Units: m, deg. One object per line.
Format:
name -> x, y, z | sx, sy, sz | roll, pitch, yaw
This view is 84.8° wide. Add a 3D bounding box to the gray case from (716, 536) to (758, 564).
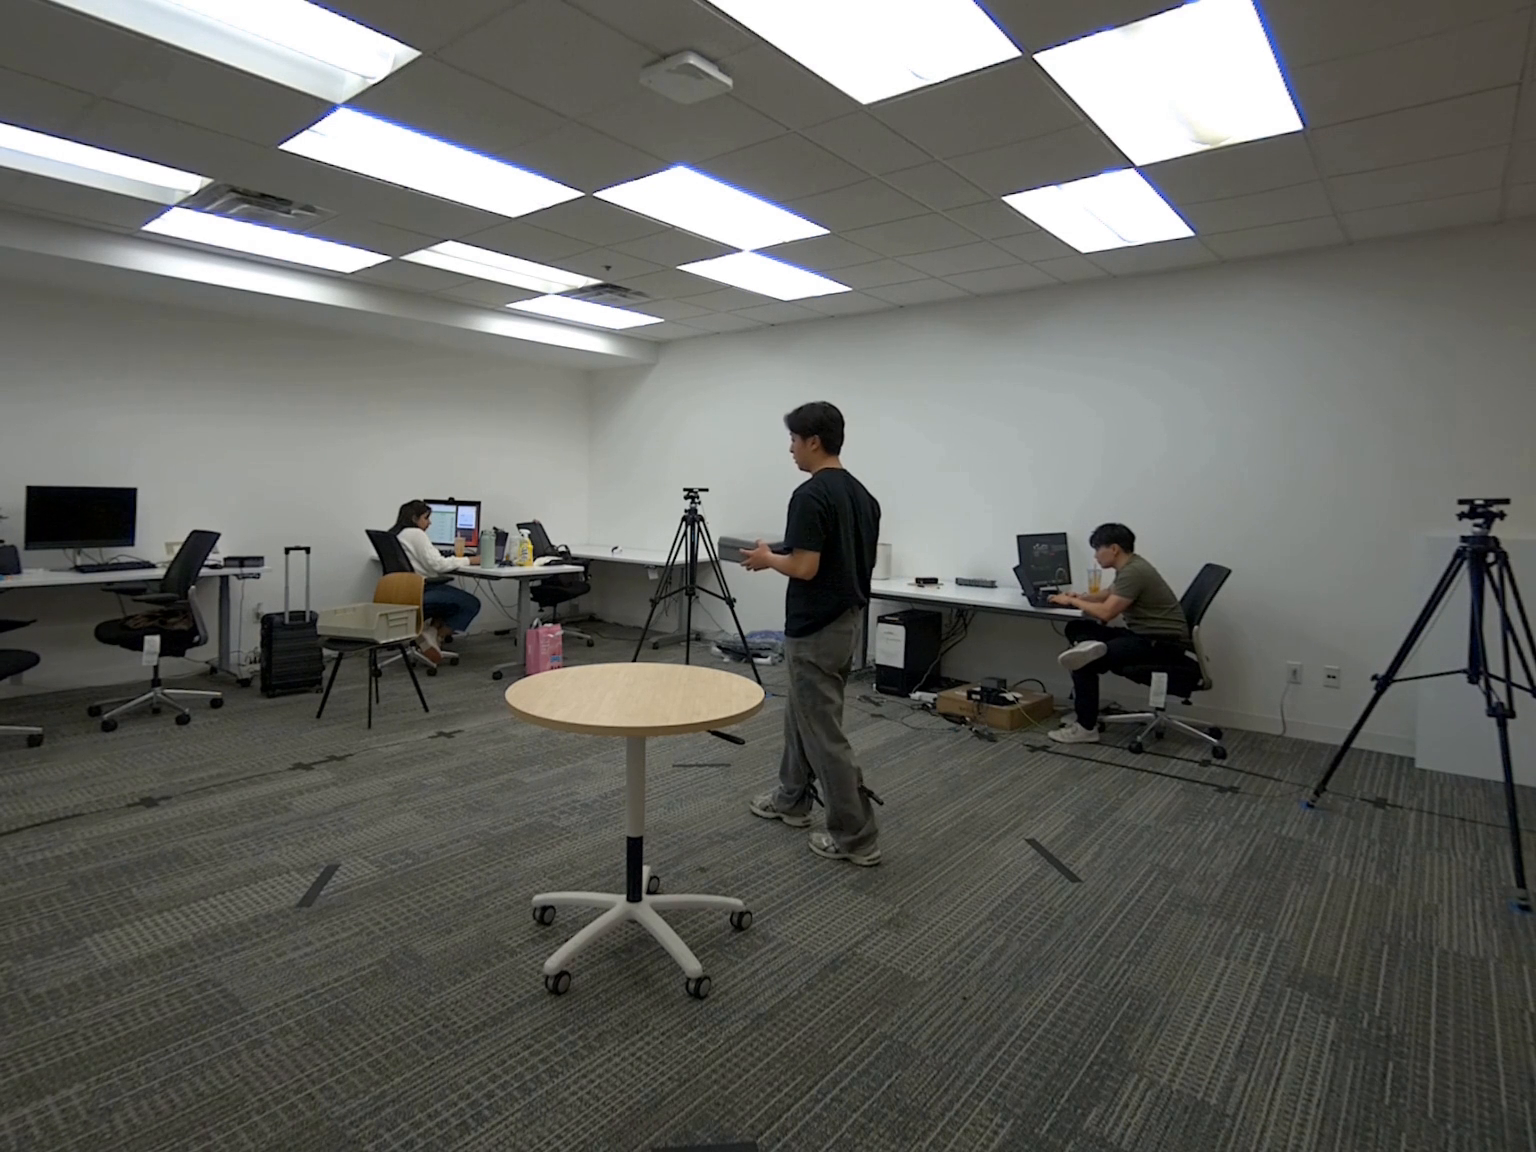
gray case -> -0.053, -0.113, 3.510 | 0.295, 0.102, 0.258 | 9, 11, 24
